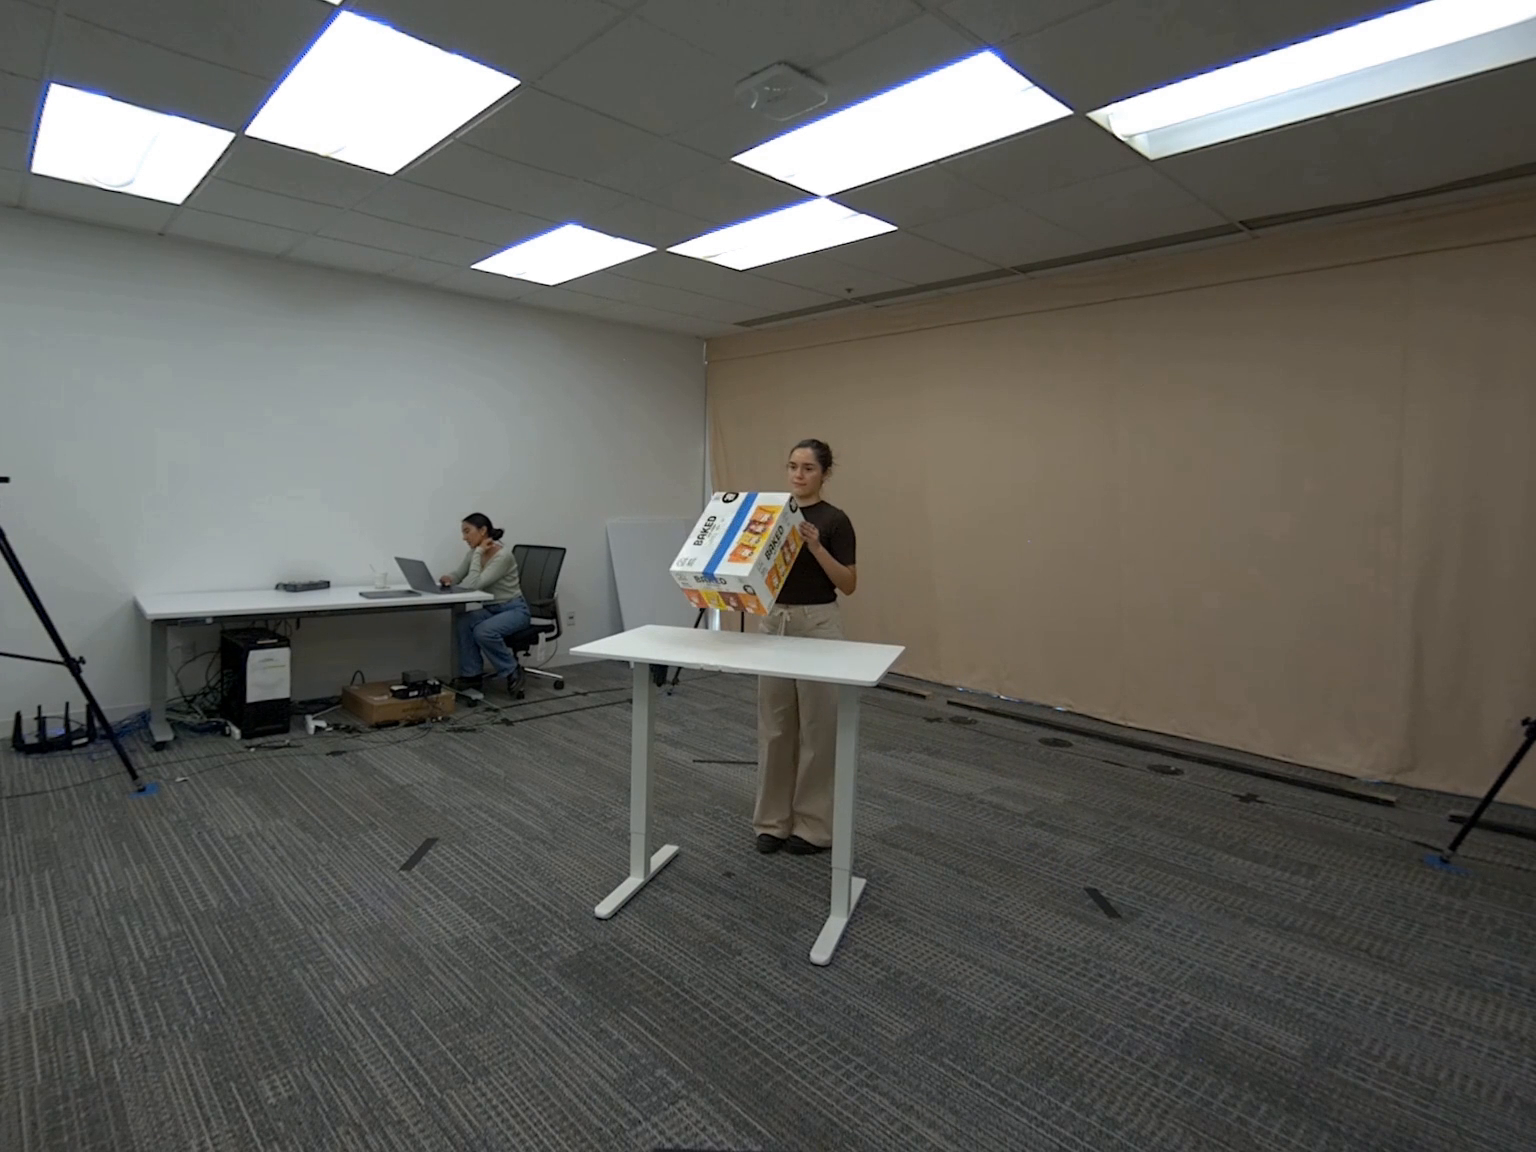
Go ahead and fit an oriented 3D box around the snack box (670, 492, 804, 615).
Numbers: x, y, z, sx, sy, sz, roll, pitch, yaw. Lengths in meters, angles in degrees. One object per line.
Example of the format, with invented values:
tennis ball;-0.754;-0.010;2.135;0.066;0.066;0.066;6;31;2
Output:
snack box;-0.101;-0.092;3.084;0.348;0.408;0.199;4;-39;34
